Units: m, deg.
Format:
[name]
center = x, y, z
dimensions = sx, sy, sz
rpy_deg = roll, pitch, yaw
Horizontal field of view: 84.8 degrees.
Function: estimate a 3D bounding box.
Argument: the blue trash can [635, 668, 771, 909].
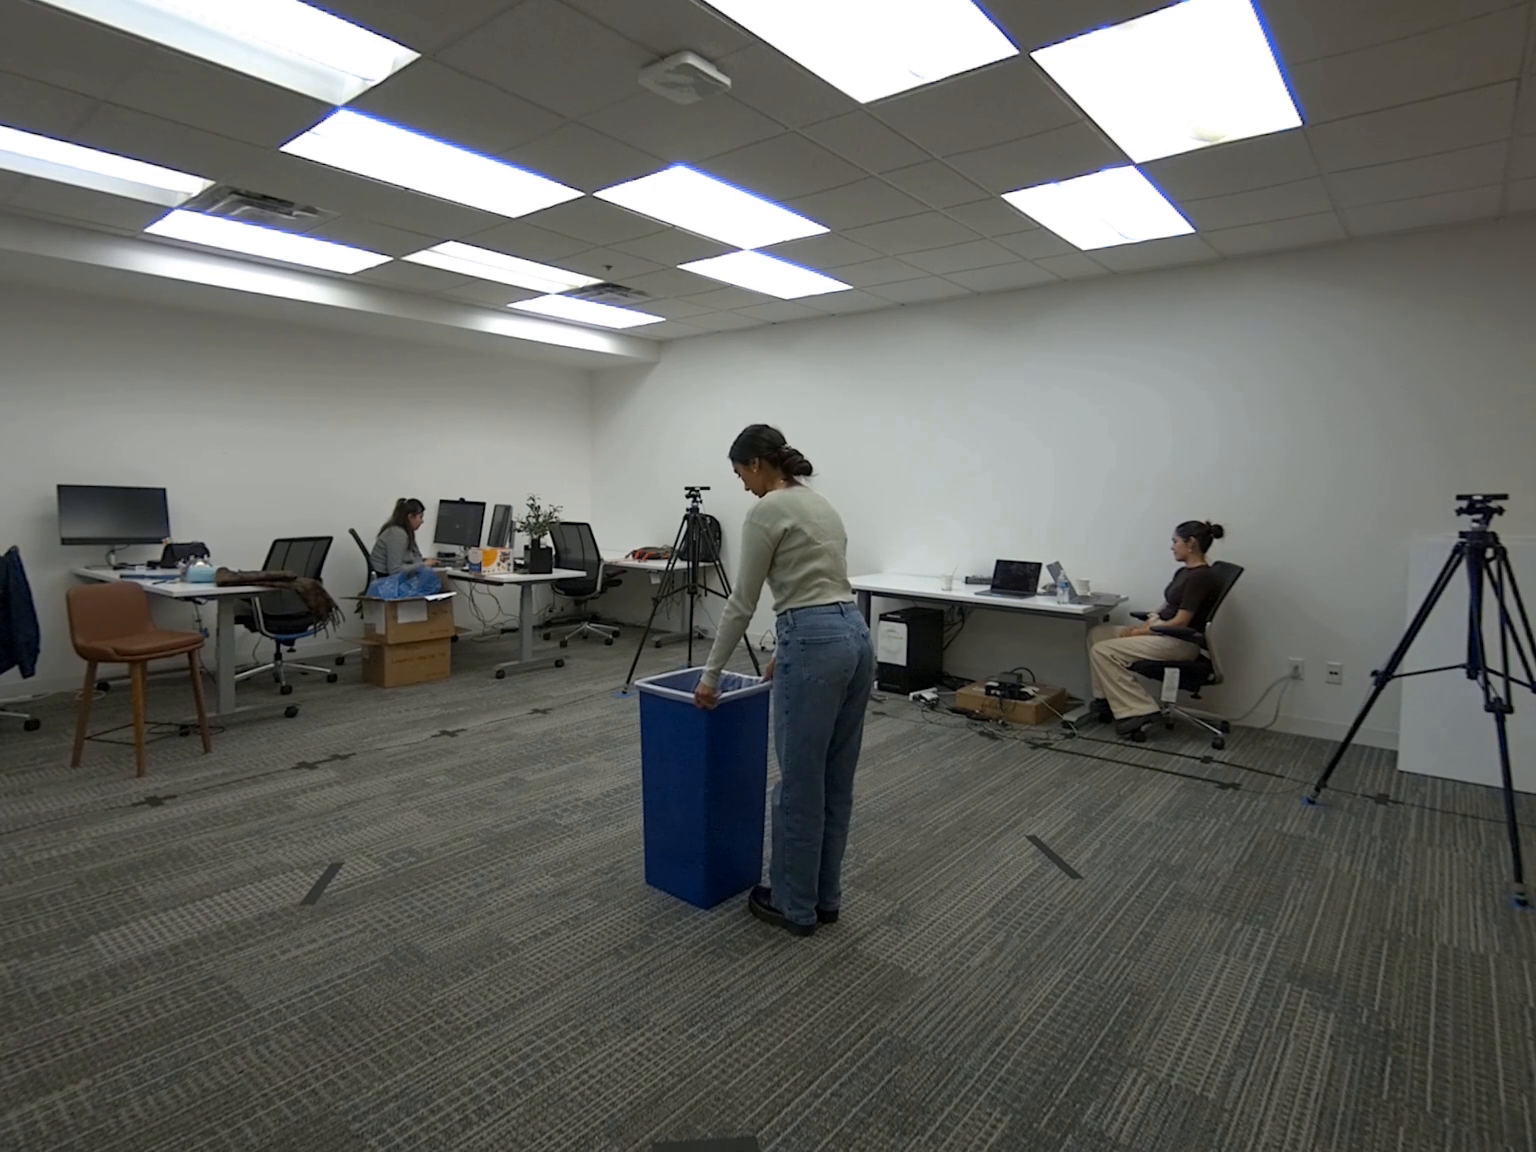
[blue trash can]
center = -0.234, 0.719, 2.977
dimensions = 0.391, 0.712, 0.363
rpy_deg = 4, 4, 41
